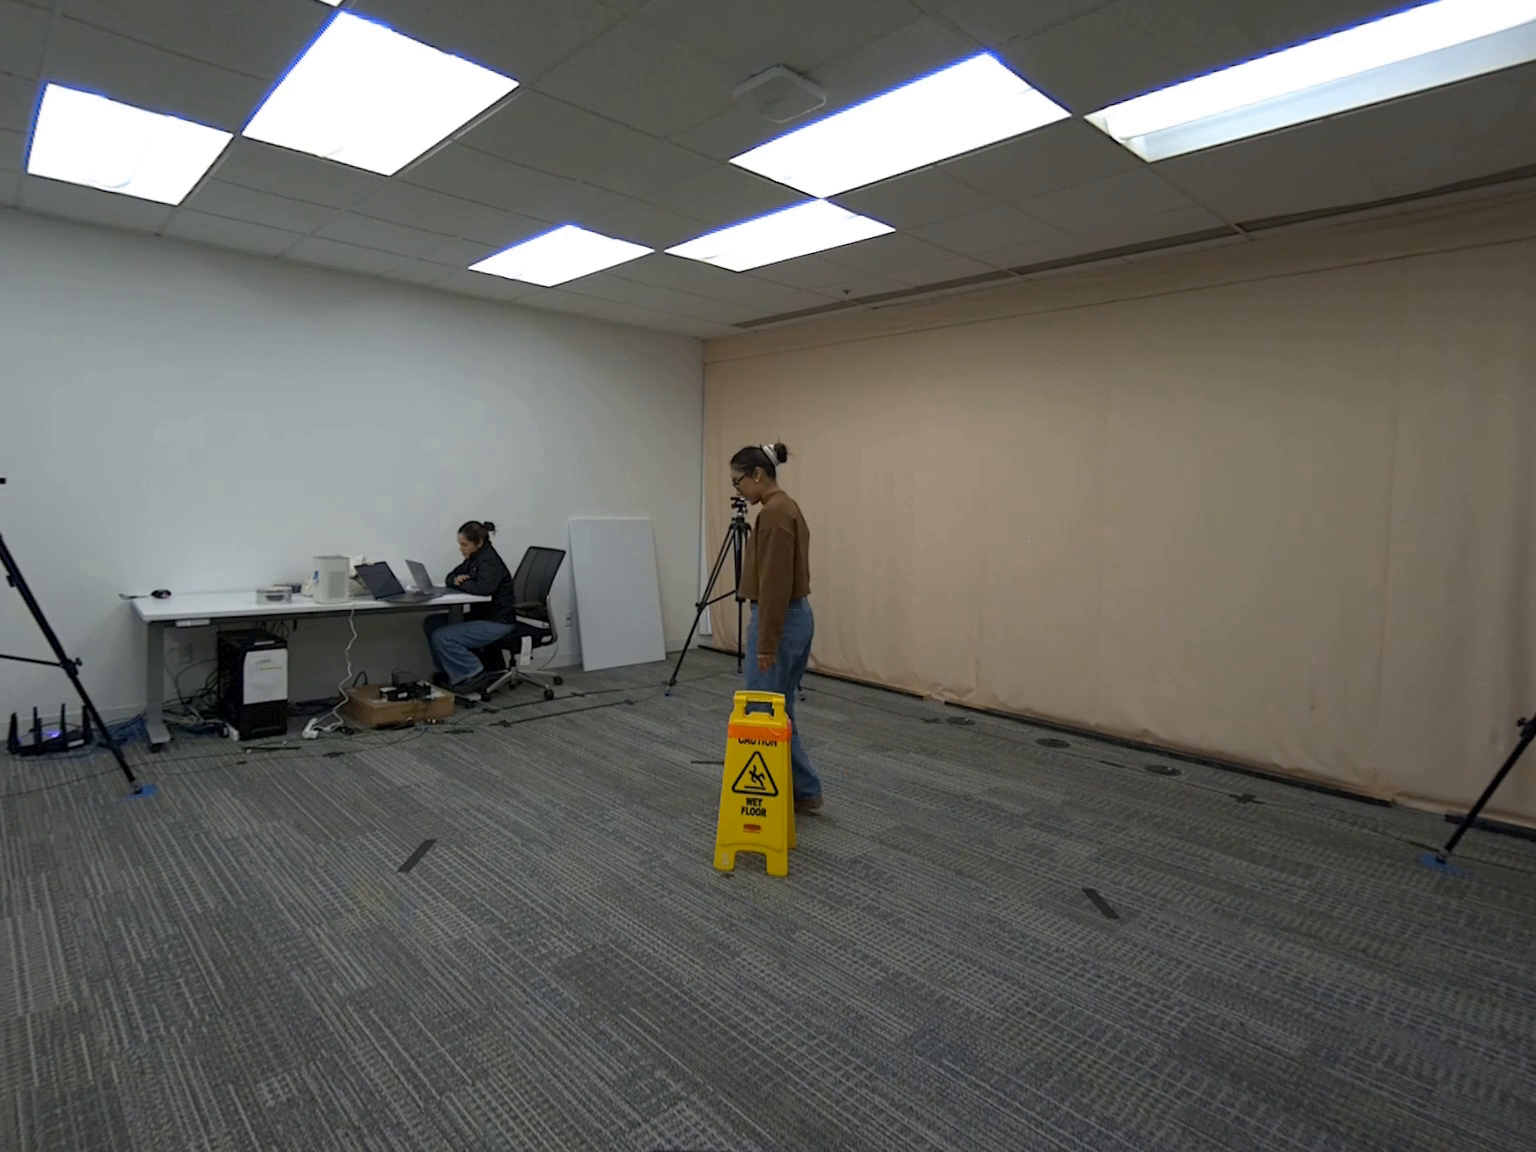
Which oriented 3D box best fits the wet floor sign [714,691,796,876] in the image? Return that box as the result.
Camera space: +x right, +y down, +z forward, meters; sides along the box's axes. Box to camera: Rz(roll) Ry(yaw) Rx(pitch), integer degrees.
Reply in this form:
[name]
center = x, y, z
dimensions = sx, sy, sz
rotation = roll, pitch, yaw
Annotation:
[wet floor sign]
center = -0.057, 0.777, 3.258
dimensions = 0.285, 0.645, 0.288
rotation = 2, 3, 10
